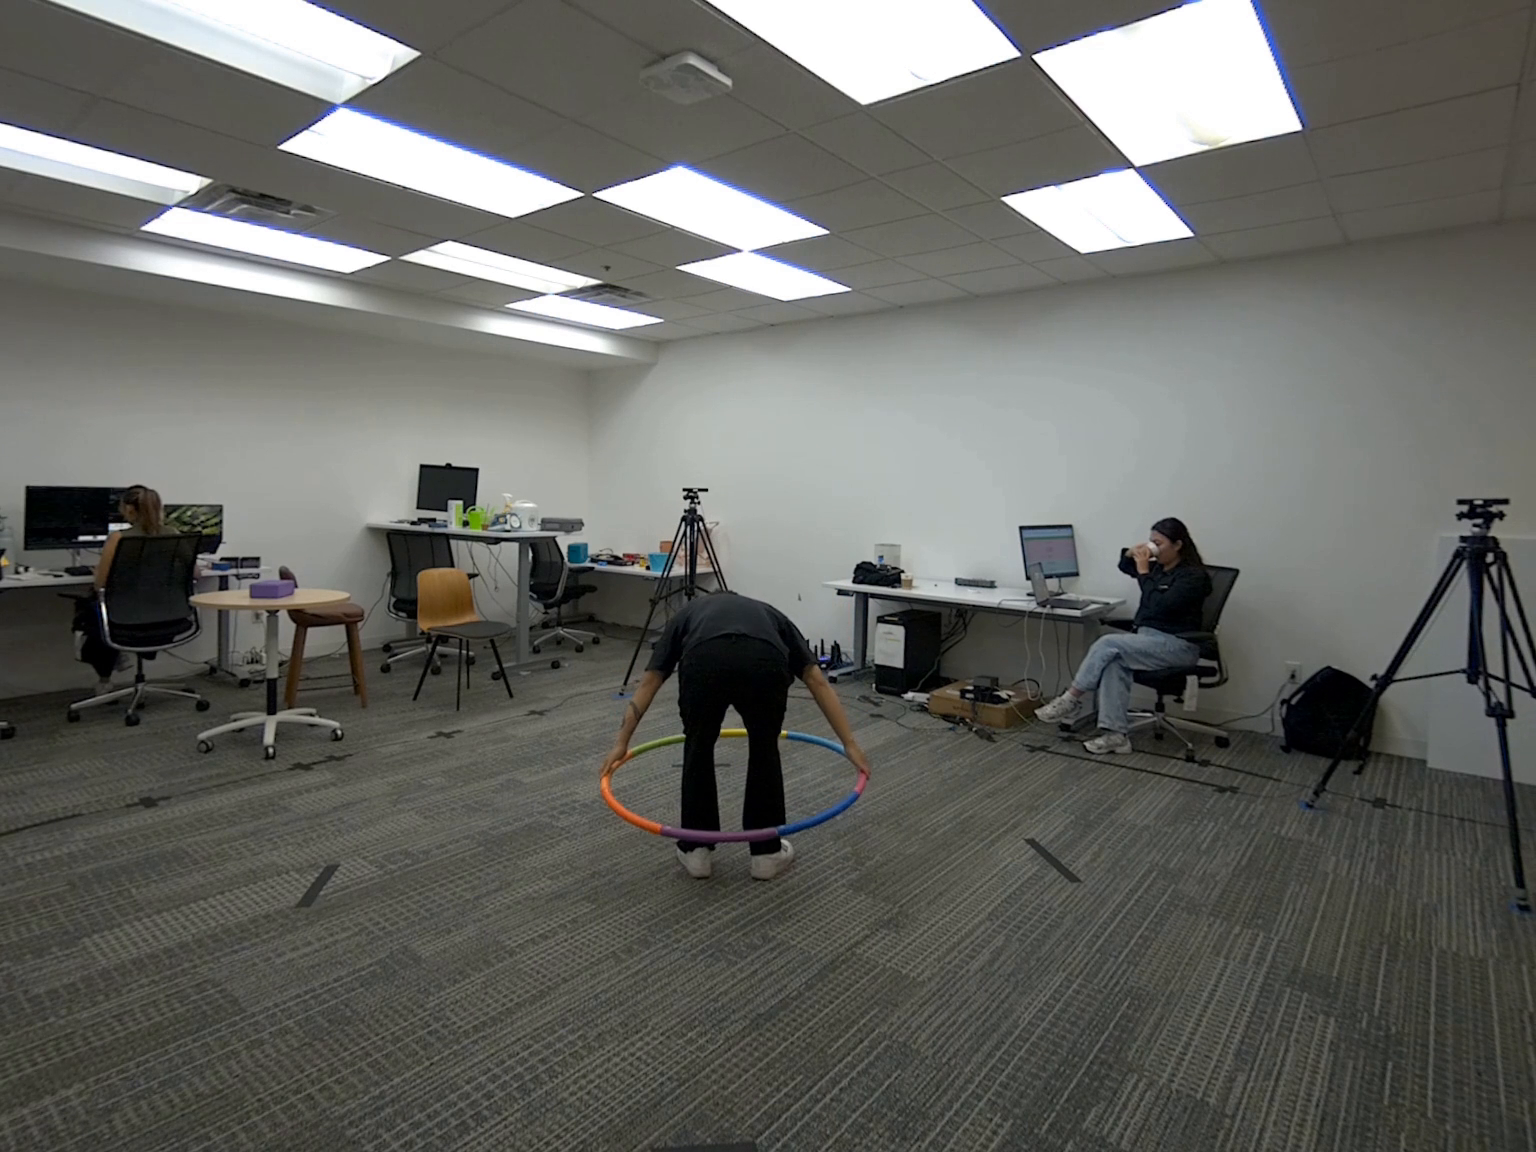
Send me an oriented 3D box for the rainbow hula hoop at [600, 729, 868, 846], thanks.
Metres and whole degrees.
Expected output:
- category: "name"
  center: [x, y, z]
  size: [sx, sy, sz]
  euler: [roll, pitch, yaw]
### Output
- category: "rainbow hula hoop"
  center: [-0.142, 0.729, 3.151]
  size: [0.978, 0.035, 0.987]
  euler: [-2, 9, -2]
